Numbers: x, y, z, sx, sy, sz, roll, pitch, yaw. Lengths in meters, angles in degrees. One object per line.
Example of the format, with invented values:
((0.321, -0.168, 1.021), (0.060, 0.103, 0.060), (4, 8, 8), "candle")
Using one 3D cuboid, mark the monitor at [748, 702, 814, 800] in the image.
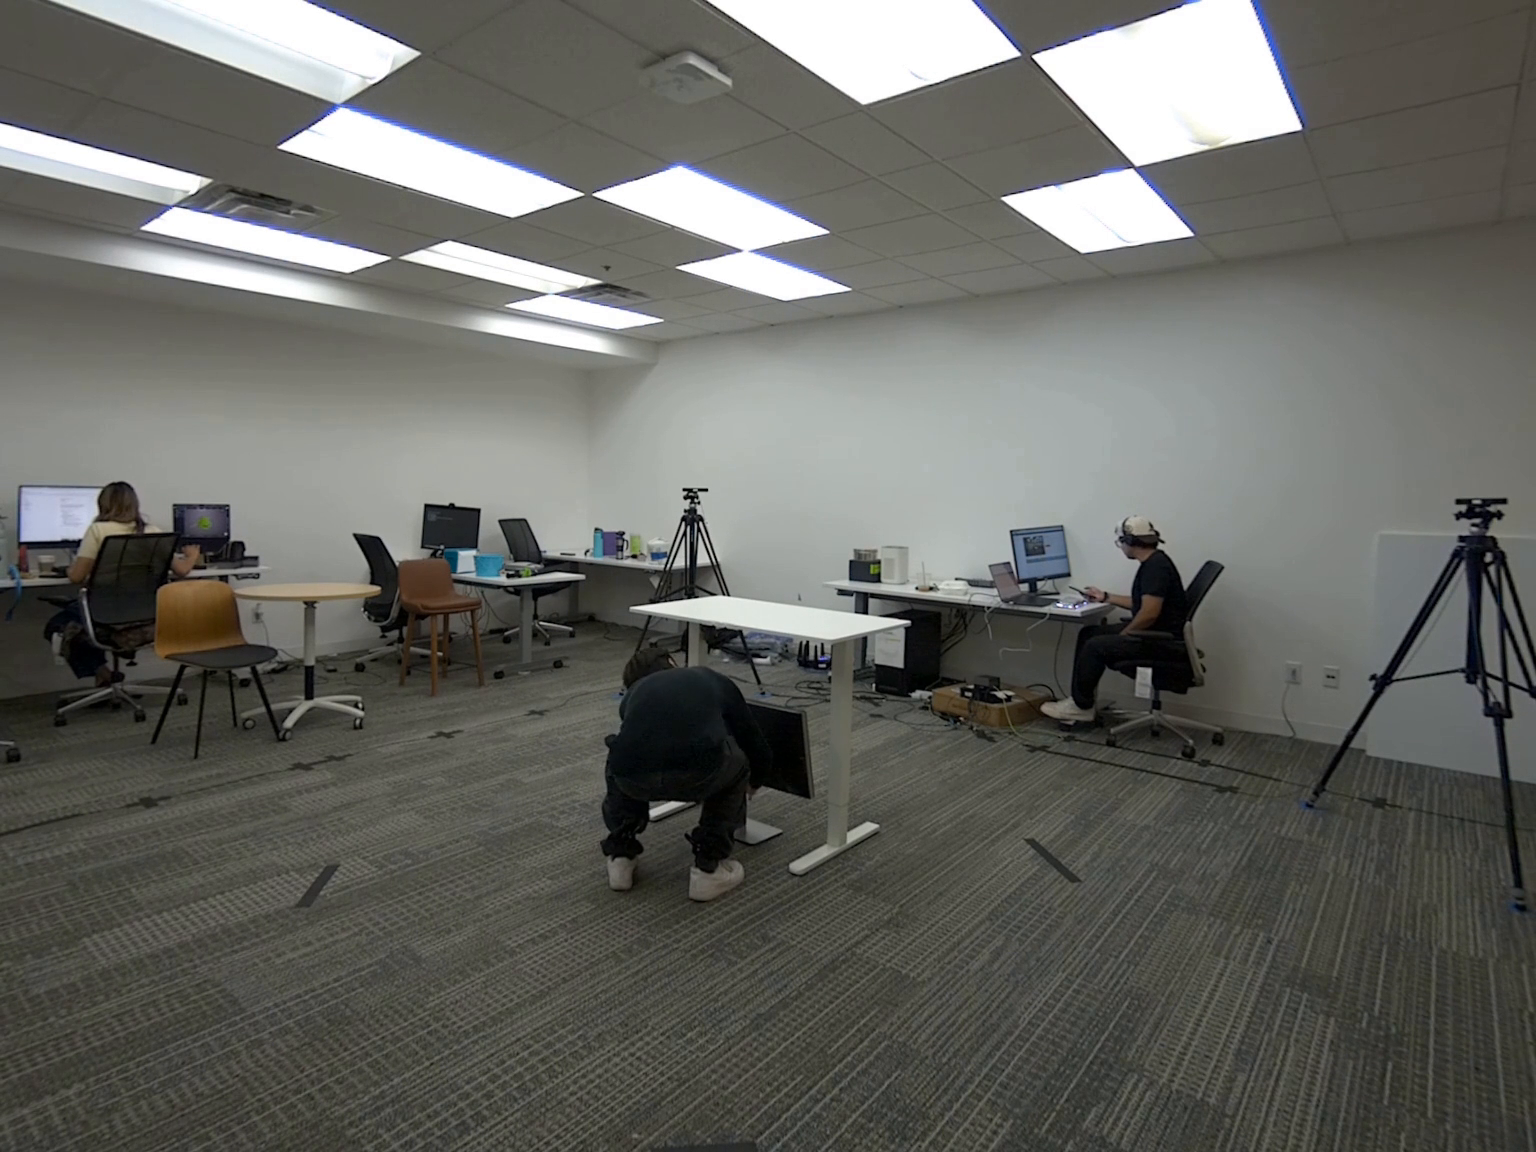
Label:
((-0.092, 0.759, 3.451), (0.547, 0.517, 0.168), (3, -3, 40), "monitor")
